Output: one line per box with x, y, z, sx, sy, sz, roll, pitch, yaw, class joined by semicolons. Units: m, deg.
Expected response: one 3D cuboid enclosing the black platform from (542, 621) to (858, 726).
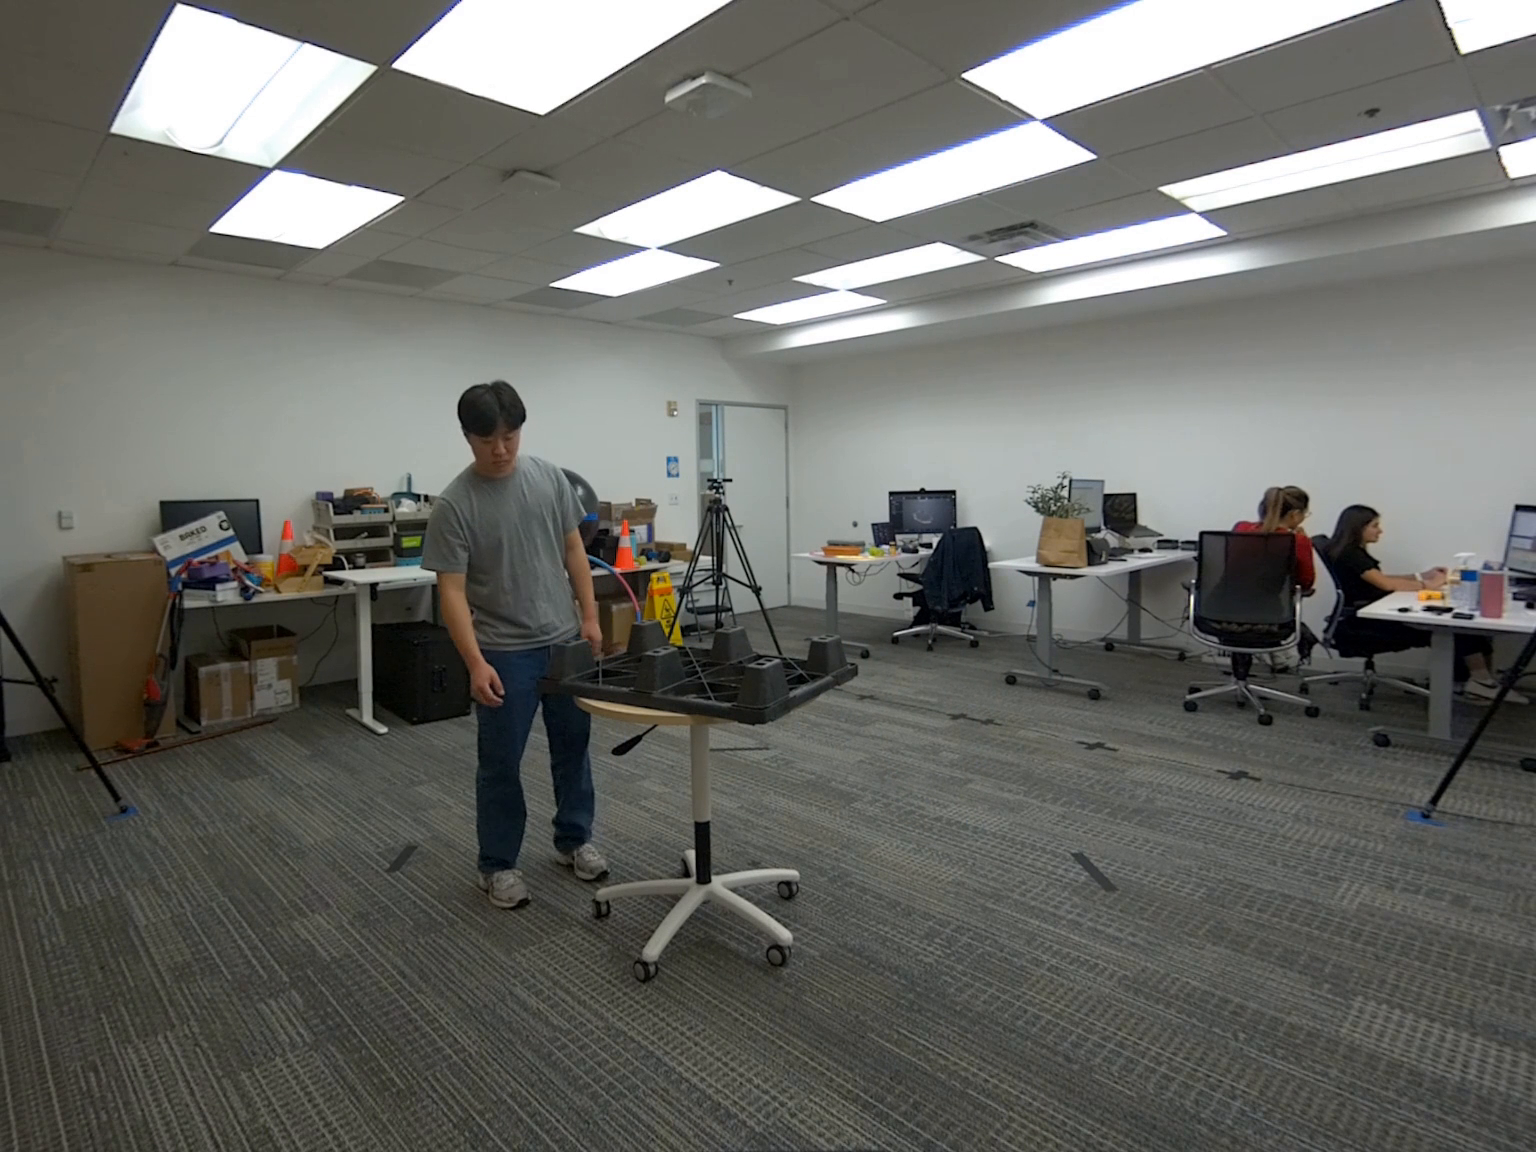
-0.198;0.261;2.588;0.827;0.142;0.592;2;9;31;black platform
